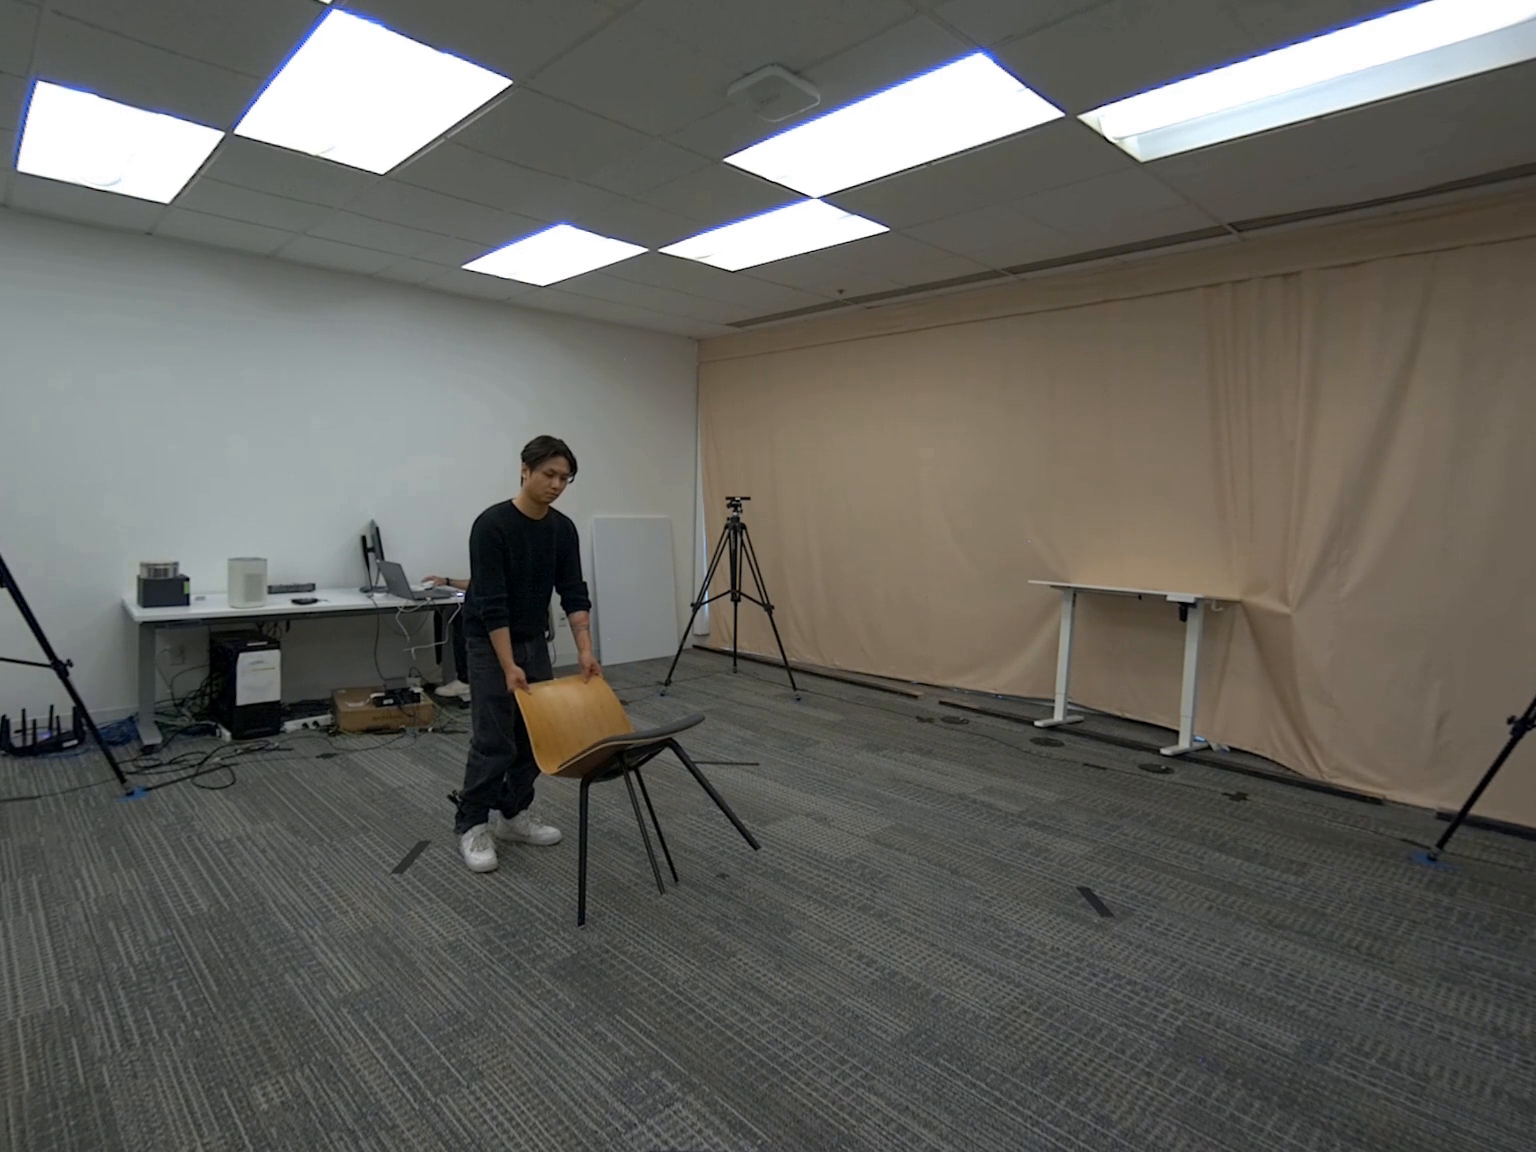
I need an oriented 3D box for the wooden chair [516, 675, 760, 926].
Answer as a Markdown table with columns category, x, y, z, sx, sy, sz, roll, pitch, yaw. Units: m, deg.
| category | x | y | z | sx | sy | sz | roll | pitch | yaw |
| --- | --- | --- | --- | --- | --- | --- | --- | --- | --- |
| wooden chair | -0.475 | 0.637 | 2.853 | 0.467 | 0.894 | 0.525 | -3 | -30 | -49 |
